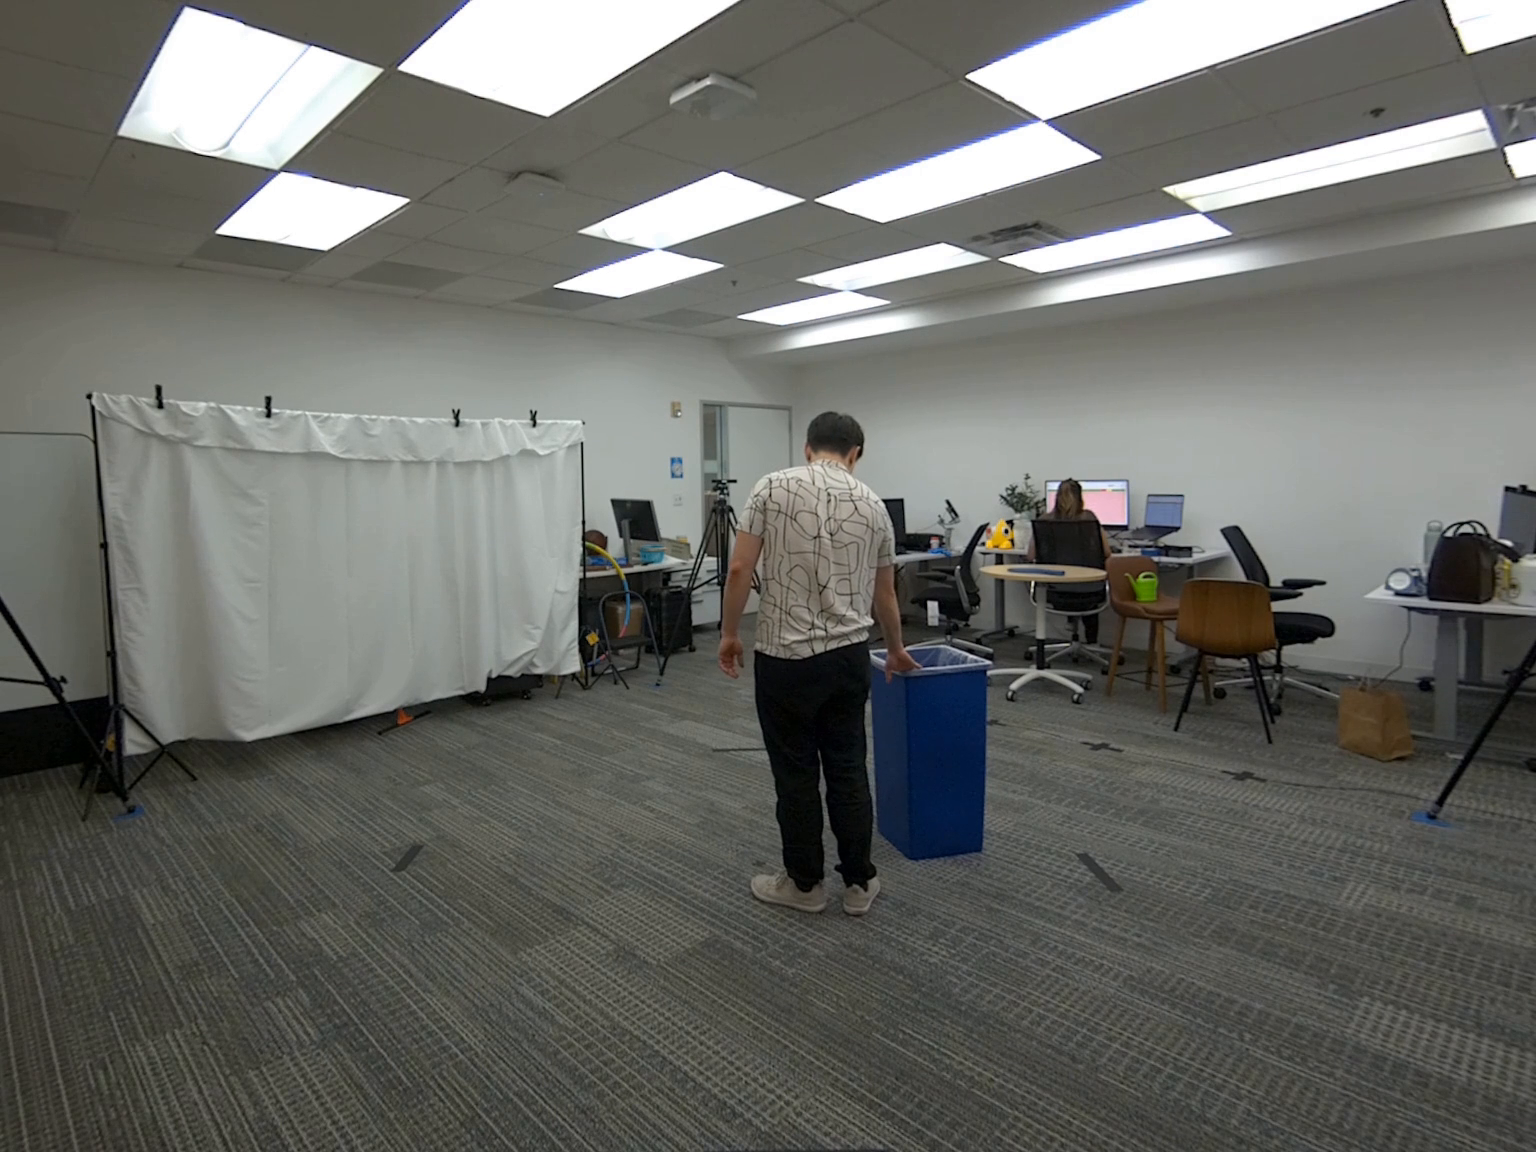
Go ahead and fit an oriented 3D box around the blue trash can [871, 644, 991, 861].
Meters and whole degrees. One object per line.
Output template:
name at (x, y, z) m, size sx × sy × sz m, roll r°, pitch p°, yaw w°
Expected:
blue trash can at (0.608, 0.662, 3.263) m, size 0.369 × 0.711 × 0.385 m, roll -2°, pitch 3°, yaw -17°
